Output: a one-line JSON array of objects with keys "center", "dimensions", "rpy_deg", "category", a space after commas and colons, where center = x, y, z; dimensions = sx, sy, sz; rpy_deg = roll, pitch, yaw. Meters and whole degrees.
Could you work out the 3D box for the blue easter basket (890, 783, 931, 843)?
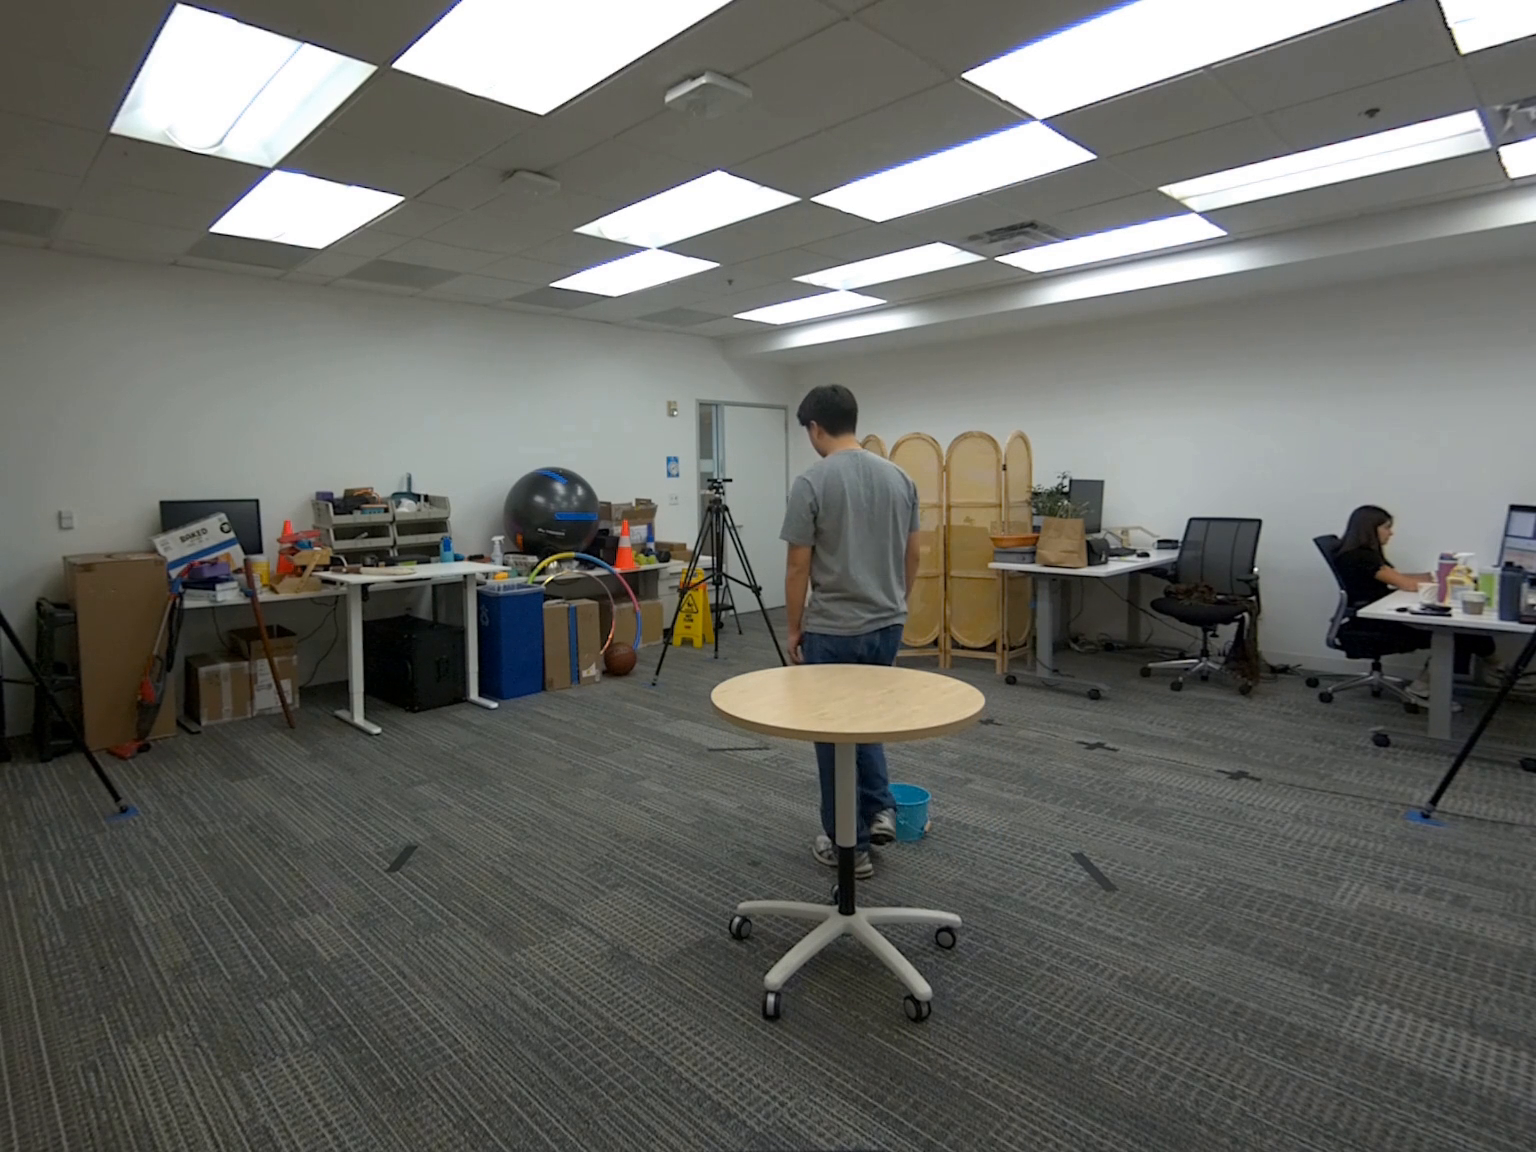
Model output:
[{"center": [0.527, 0.930, 3.355], "dimensions": [0.243, 0.155, 0.245], "rpy_deg": [-2, 5, -2], "category": "blue easter basket"}]
